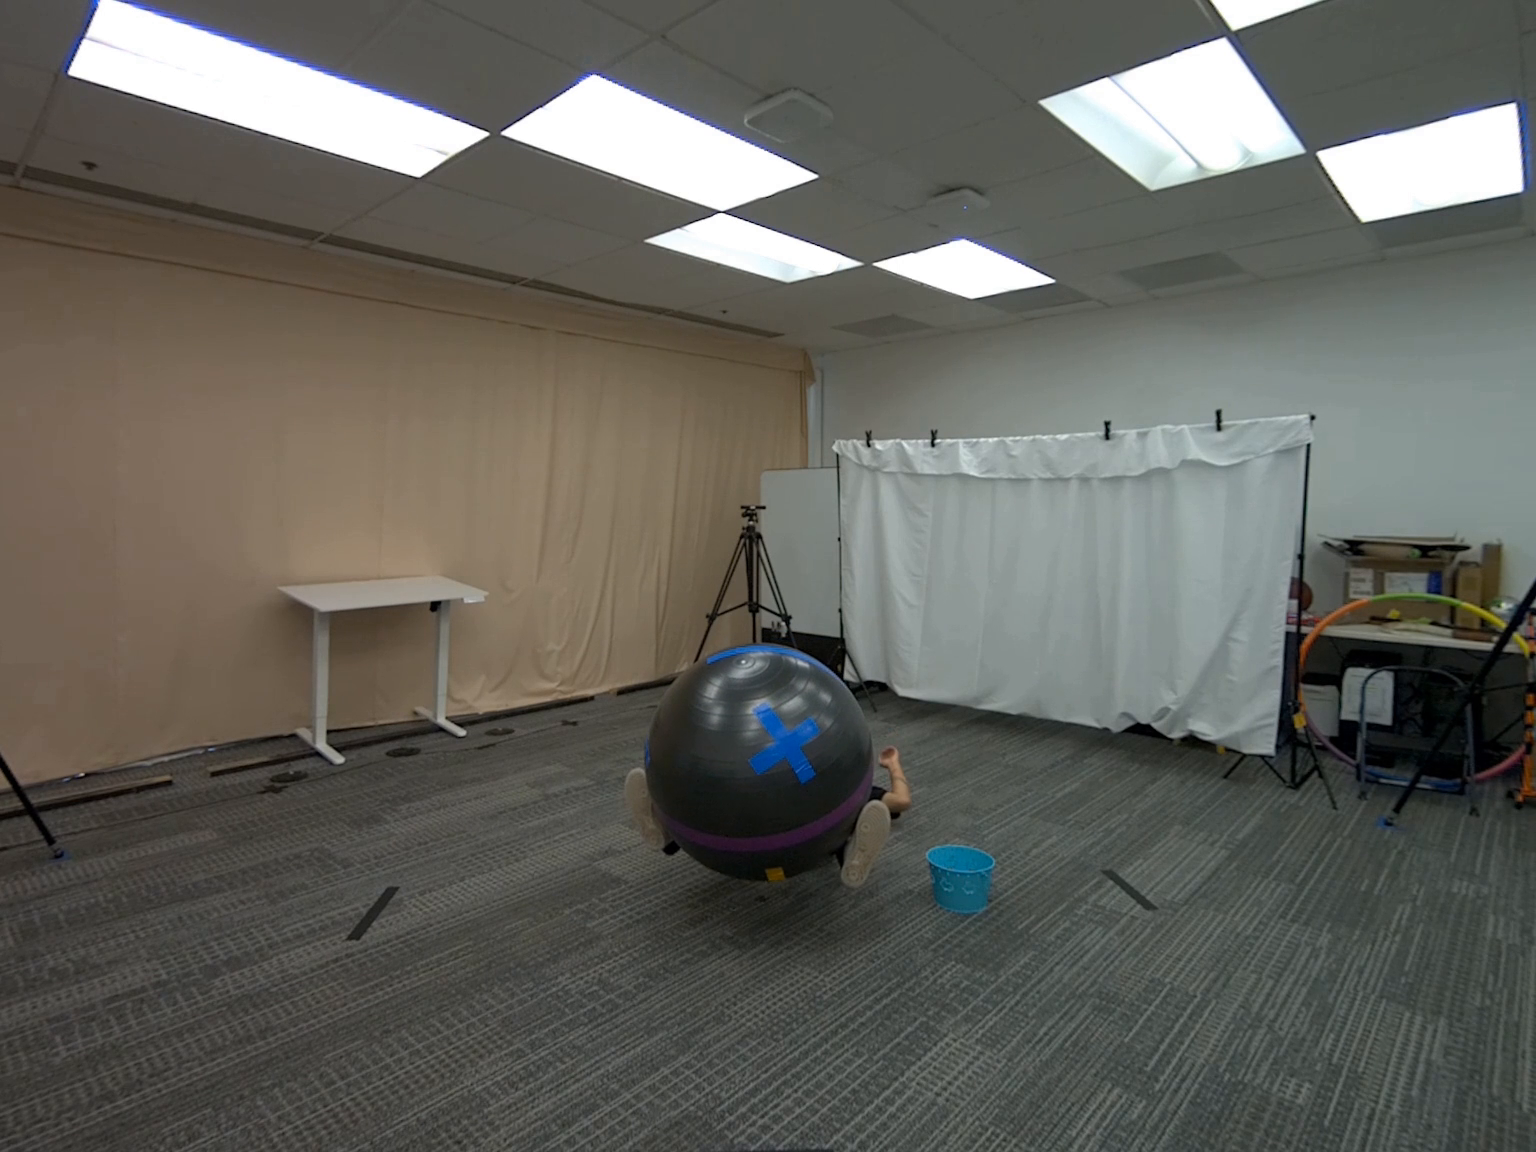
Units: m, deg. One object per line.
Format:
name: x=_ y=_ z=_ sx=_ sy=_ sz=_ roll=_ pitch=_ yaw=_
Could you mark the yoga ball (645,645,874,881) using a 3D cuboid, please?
yoga ball: x=-0.027 y=0.611 z=2.800 sx=0.757 sy=0.756 sz=0.760 roll=0 pitch=4 yaw=-2
